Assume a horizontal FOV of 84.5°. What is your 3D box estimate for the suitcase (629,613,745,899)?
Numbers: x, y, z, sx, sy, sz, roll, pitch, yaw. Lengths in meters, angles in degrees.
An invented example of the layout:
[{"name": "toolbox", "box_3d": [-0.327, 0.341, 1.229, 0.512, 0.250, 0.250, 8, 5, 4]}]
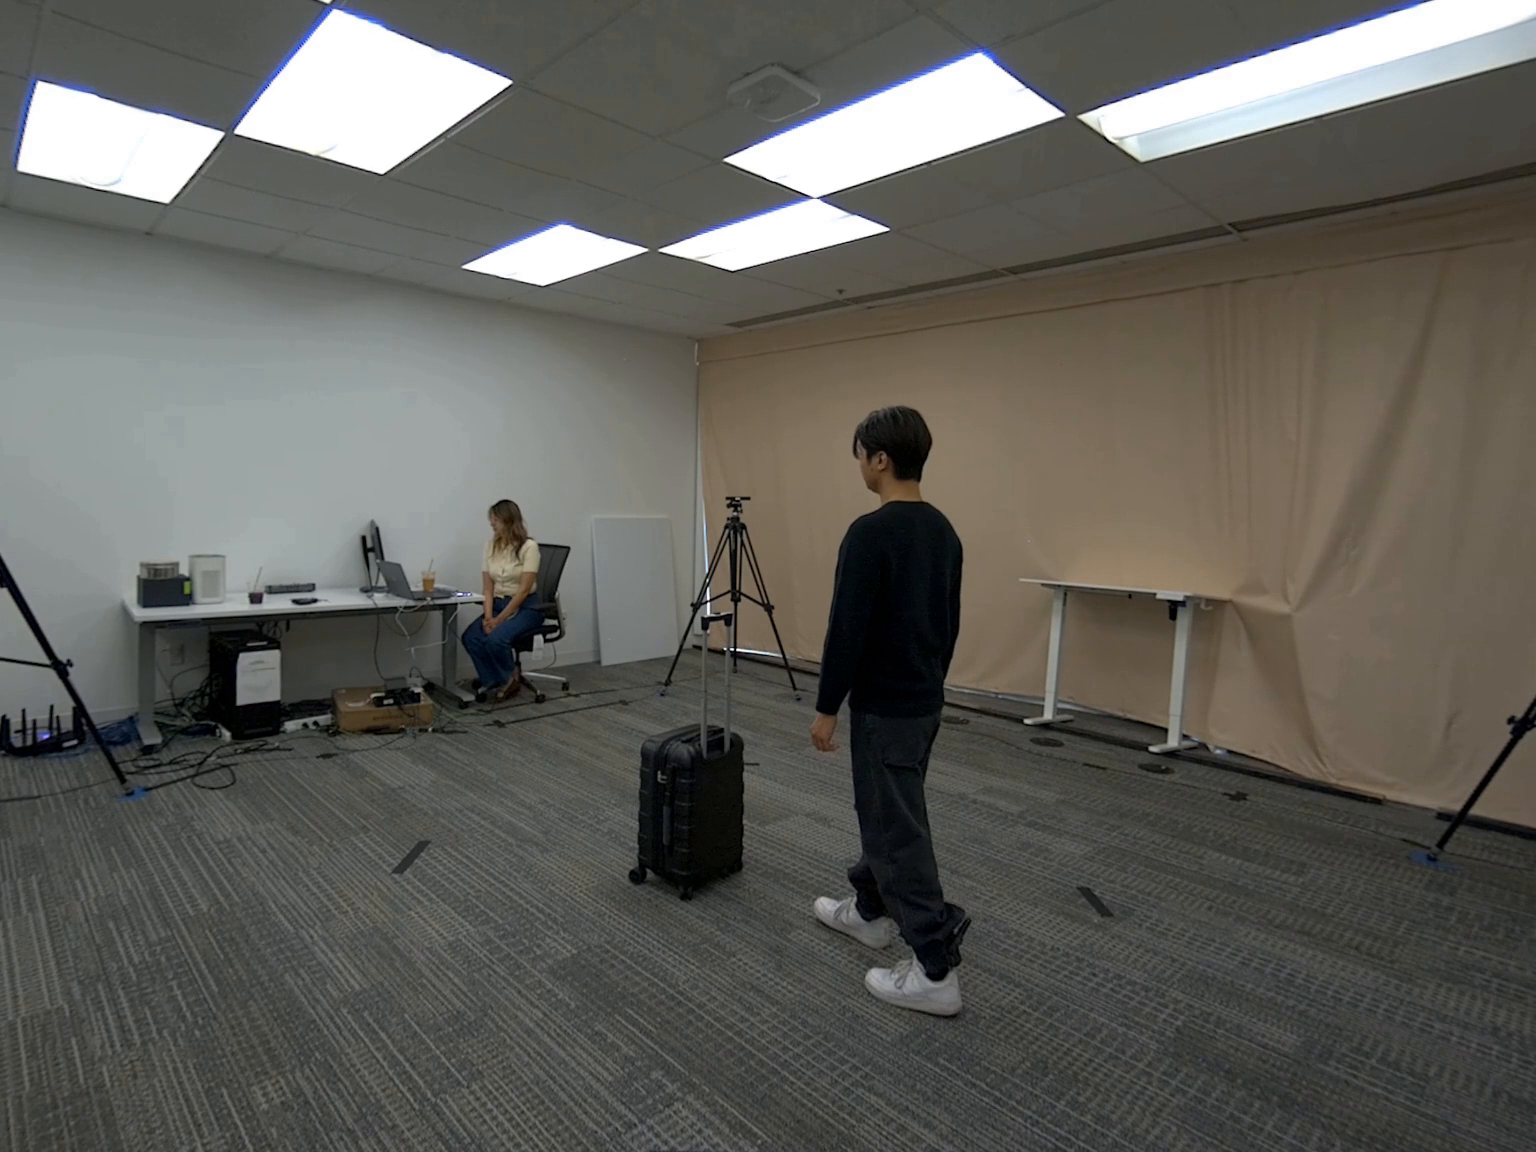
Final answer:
[{"name": "suitcase", "box_3d": [-0.285, 0.629, 3.059, 0.263, 0.977, 0.375, 2, 2, 37]}]
